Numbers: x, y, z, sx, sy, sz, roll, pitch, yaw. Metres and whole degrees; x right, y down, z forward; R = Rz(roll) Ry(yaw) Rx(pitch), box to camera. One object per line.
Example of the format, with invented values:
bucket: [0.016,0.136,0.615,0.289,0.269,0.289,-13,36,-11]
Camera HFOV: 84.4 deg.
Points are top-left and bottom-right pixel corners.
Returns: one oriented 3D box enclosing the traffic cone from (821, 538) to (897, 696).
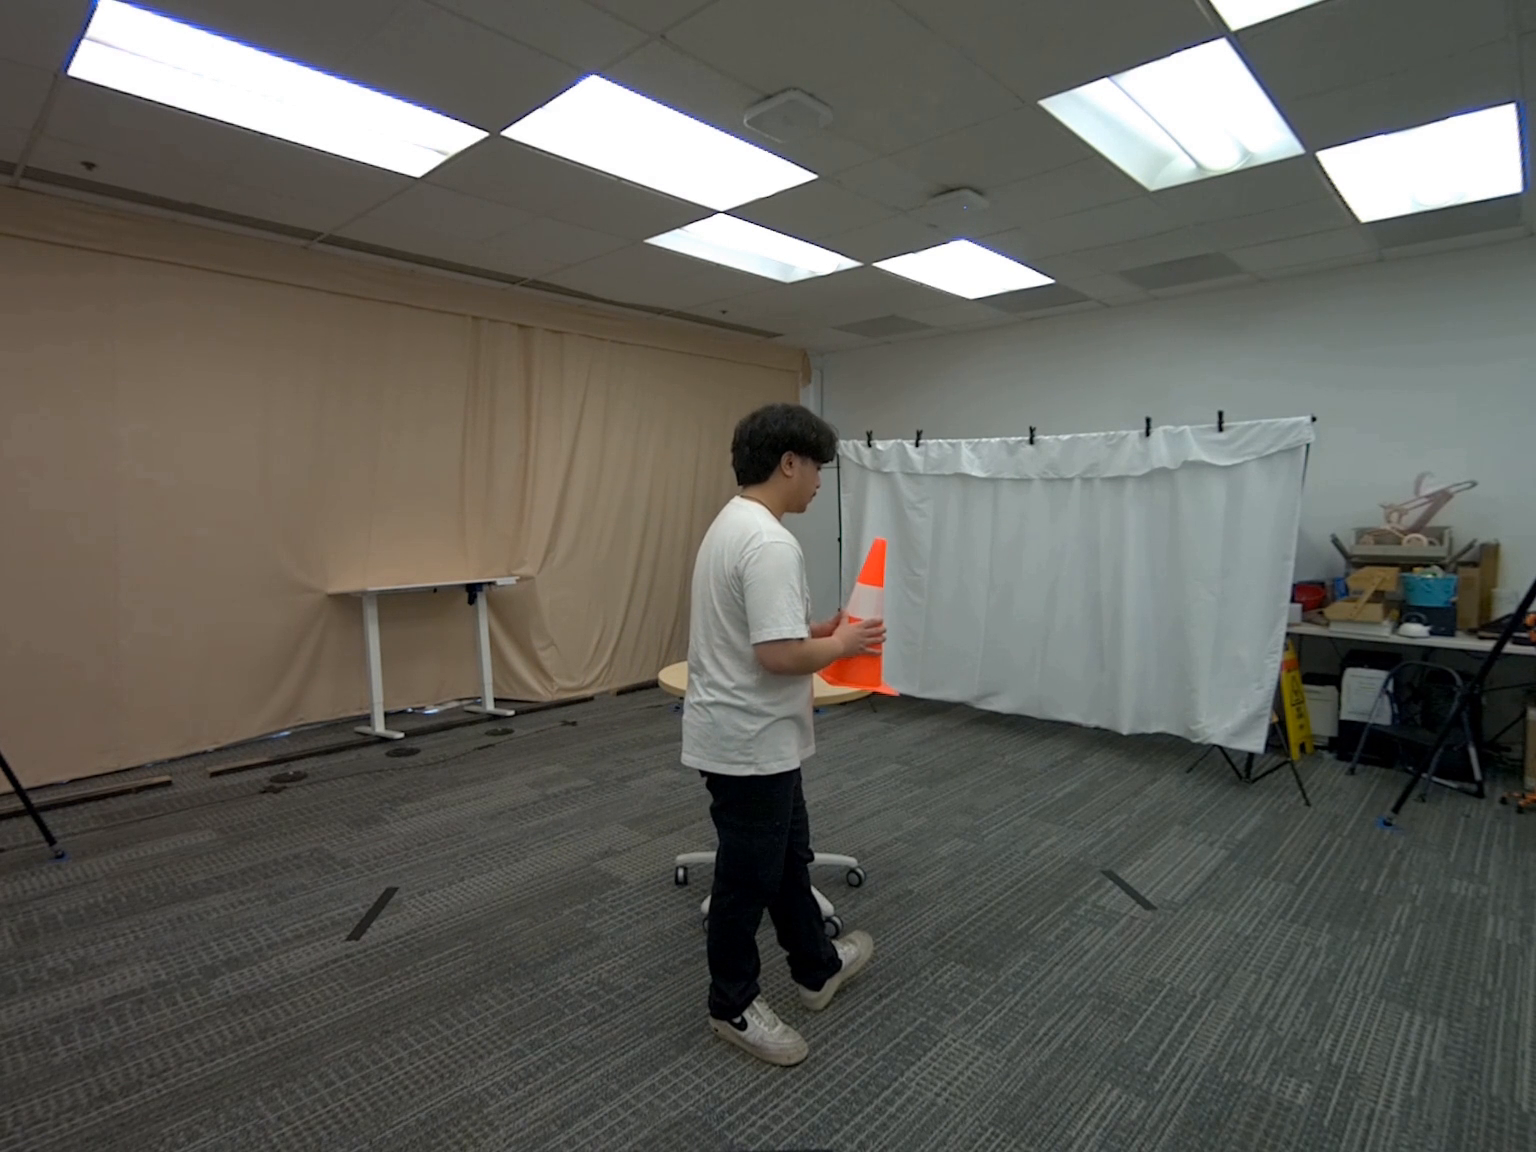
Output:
traffic cone: [0.269,0.090,2.197,0.204,0.383,0.204,13,1,3]
